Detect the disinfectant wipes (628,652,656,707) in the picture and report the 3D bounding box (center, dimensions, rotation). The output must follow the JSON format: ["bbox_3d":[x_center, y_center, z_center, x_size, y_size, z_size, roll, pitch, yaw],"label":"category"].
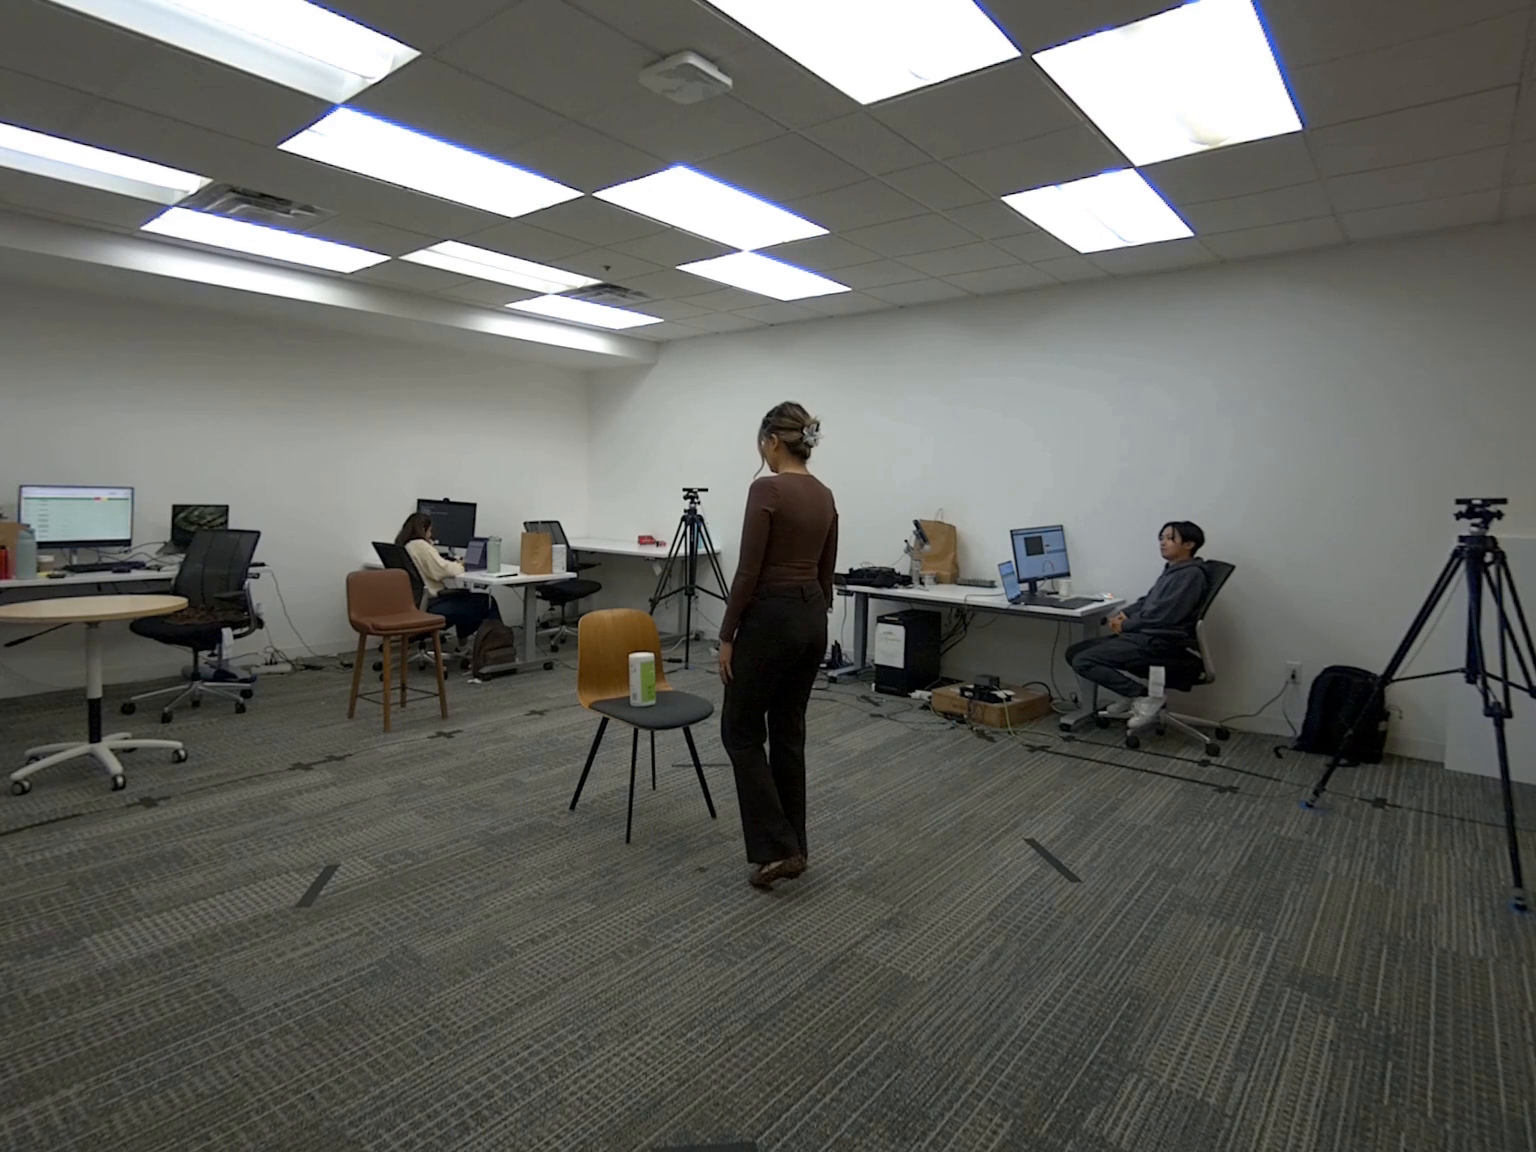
[{"bbox_3d":[-0.559,0.440,3.622,0.118,0.217,0.118,-3,0,-2],"label":"disinfectant wipes"}]
